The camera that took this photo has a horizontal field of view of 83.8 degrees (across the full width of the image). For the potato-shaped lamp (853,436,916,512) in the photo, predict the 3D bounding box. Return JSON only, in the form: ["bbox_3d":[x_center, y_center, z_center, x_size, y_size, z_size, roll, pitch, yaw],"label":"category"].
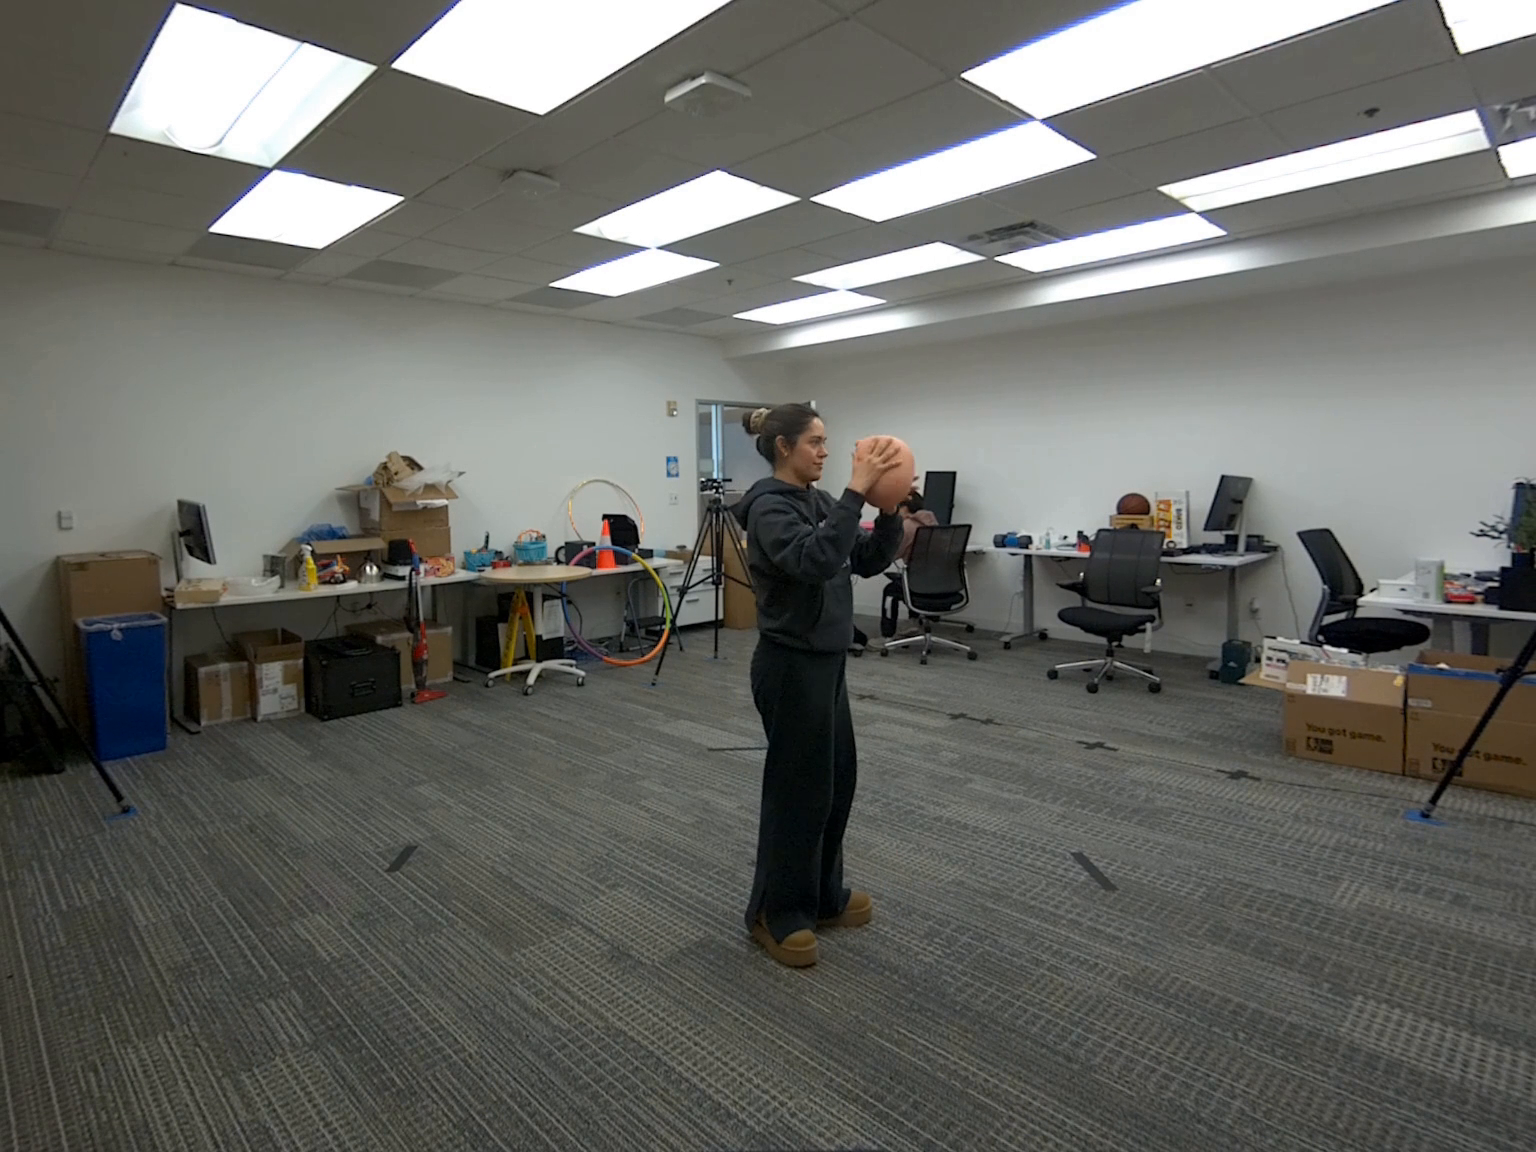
[{"bbox_3d":[0.314,-0.279,2.376,0.176,0.200,0.158,-1,-27,39],"label":"potato-shaped lamp"}]
